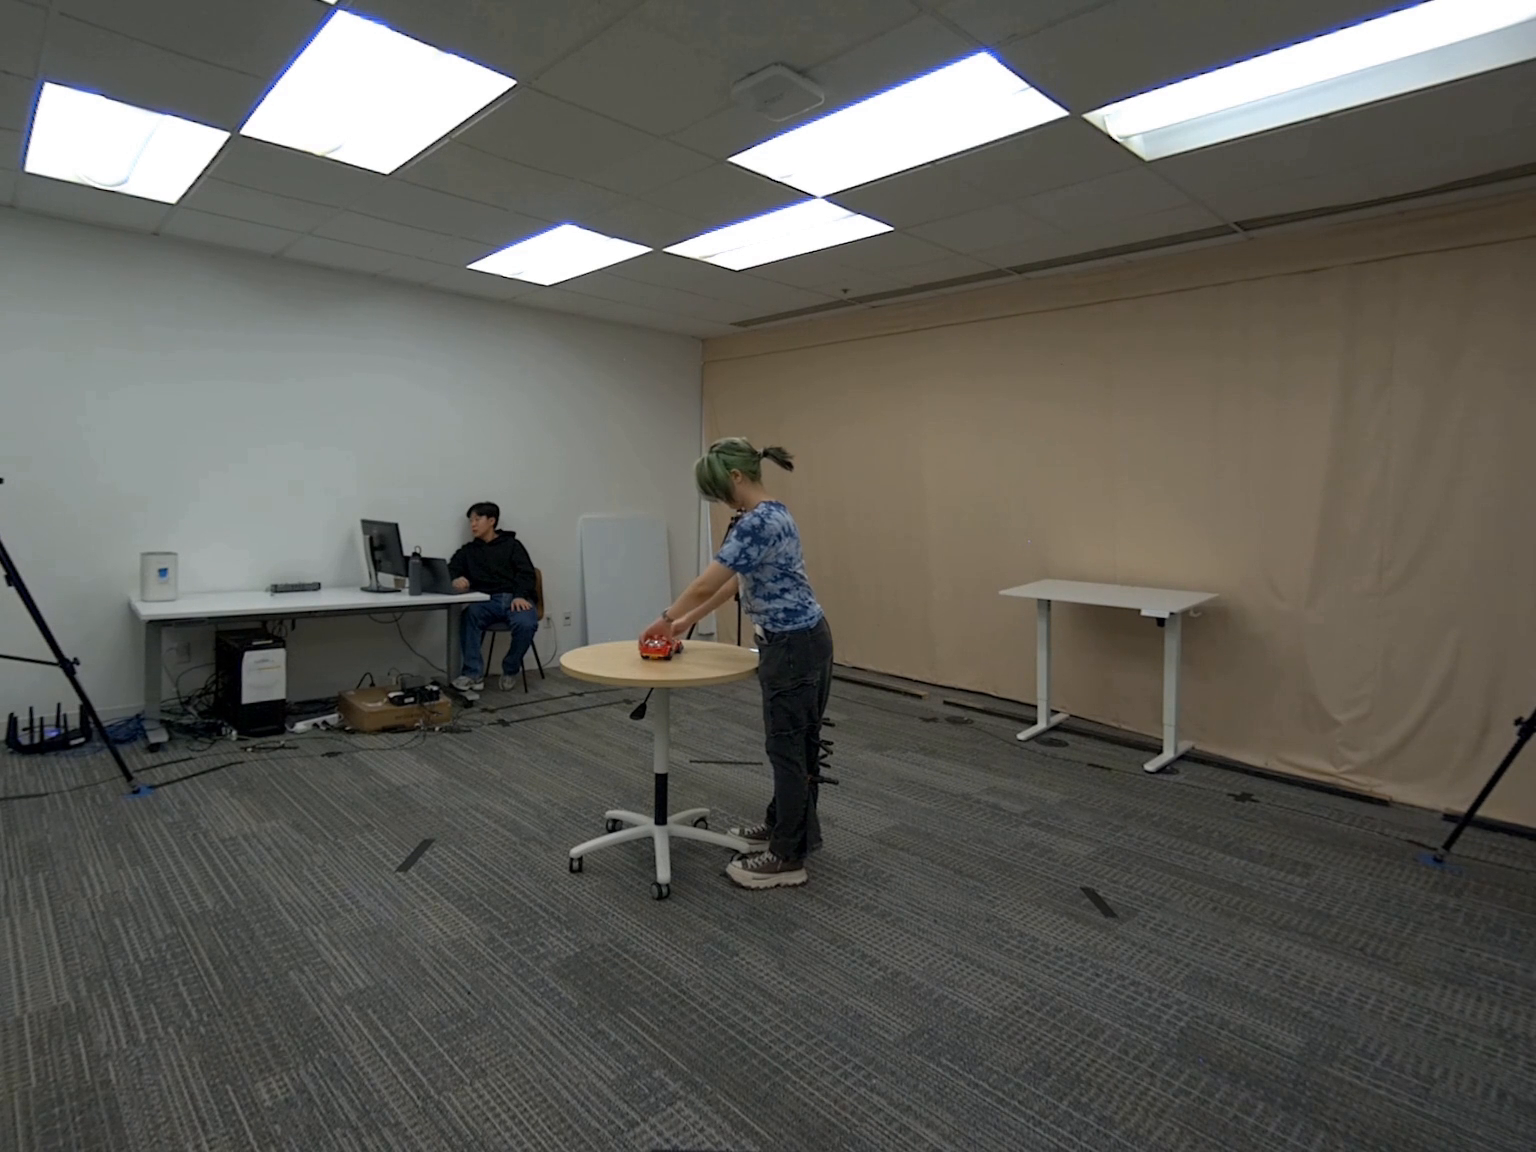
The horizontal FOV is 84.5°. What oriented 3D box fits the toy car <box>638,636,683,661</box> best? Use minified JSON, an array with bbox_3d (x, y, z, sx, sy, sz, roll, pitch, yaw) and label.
[{"bbox_3d":[-0.414,0.272,3.195,0.131,0.083,0.251,0,-6,11],"label":"toy car"}]
